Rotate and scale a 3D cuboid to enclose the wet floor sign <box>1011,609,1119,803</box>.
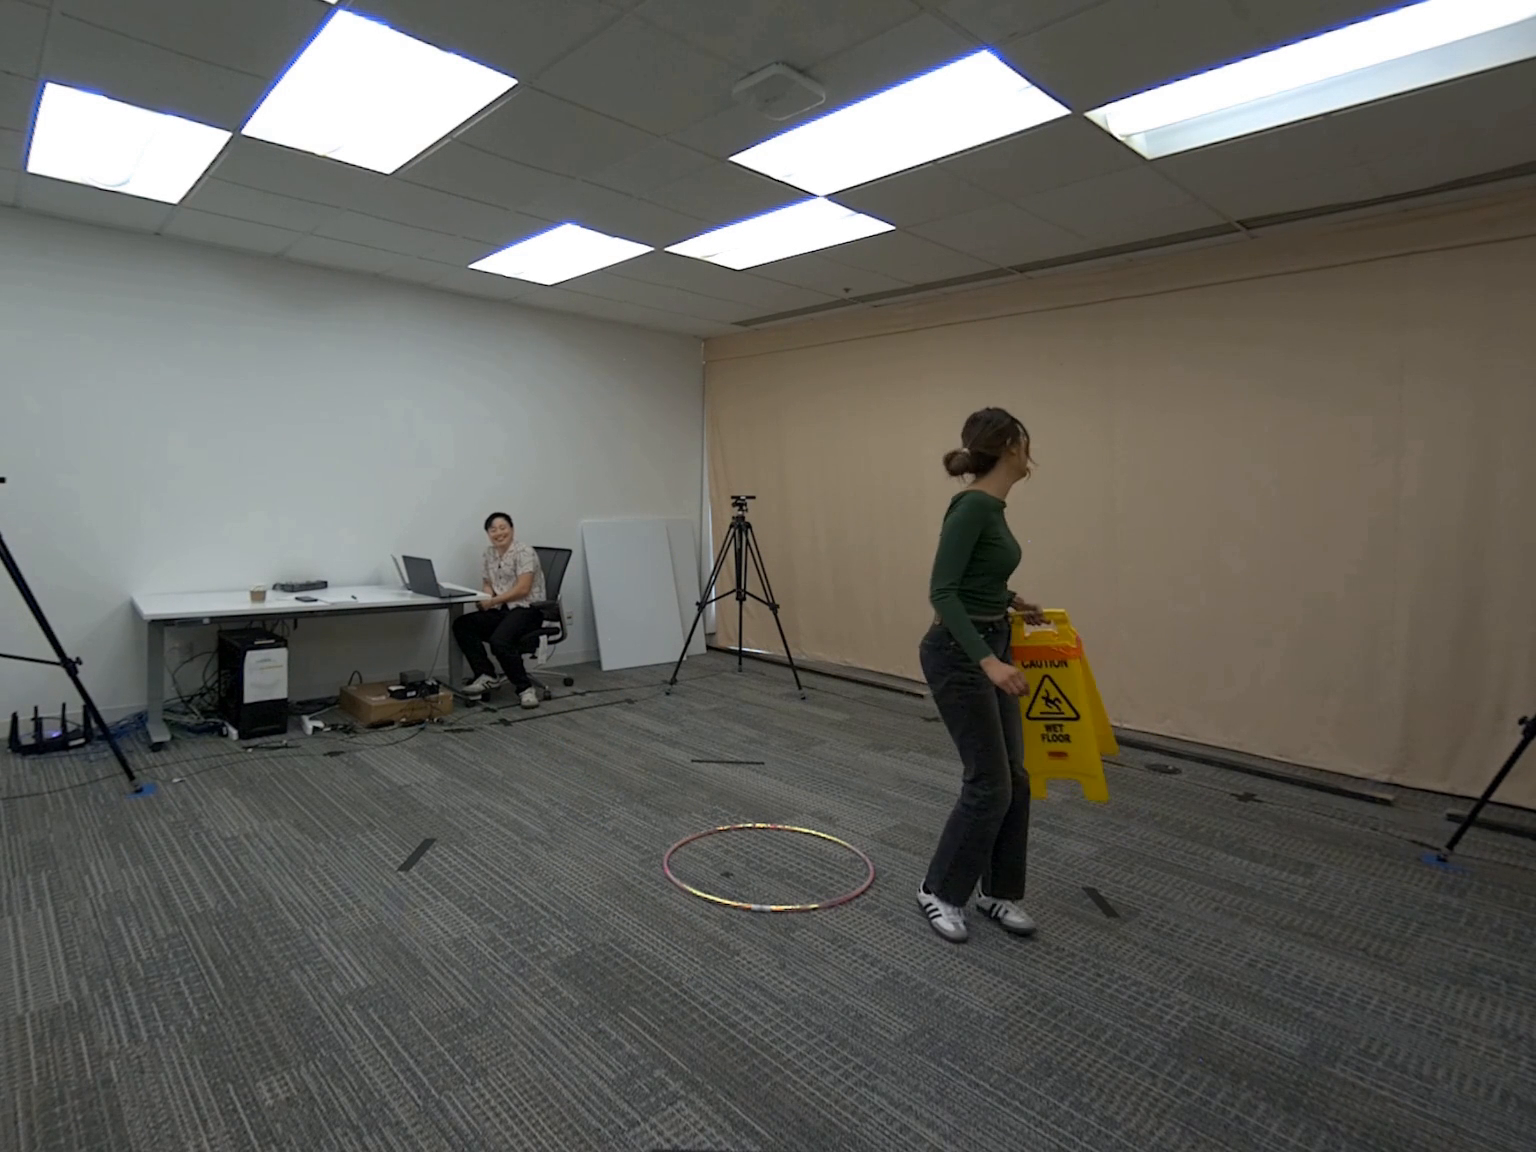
[{"bbox_3d":[0.975,0.423,2.913,0.287,0.638,0.288,-8,17,32],"label":"wet floor sign"}]
